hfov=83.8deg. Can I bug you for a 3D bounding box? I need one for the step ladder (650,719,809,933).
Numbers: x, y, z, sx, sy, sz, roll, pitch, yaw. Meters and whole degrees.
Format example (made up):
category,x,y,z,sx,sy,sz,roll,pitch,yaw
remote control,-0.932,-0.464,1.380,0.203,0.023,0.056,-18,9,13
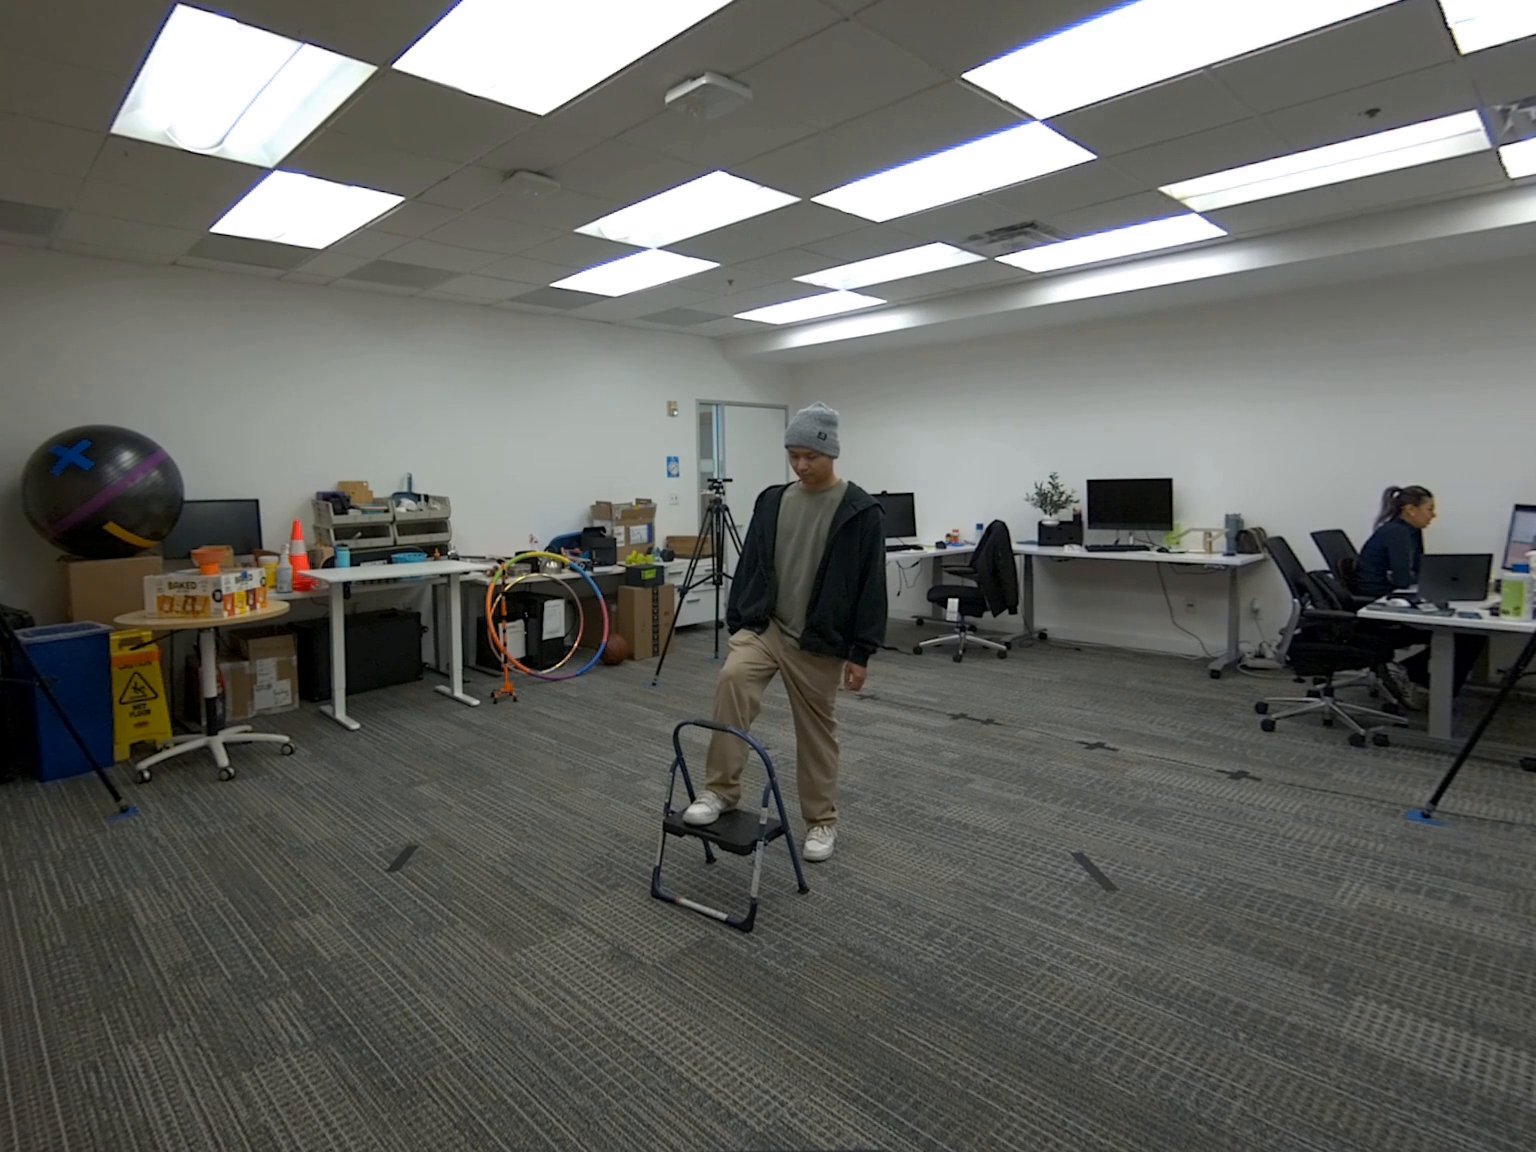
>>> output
category,x,y,z,sx,sy,sz,roll,pitch,yaw
step ladder,-0.136,0.771,2.865,0.443,0.604,0.341,2,5,35
